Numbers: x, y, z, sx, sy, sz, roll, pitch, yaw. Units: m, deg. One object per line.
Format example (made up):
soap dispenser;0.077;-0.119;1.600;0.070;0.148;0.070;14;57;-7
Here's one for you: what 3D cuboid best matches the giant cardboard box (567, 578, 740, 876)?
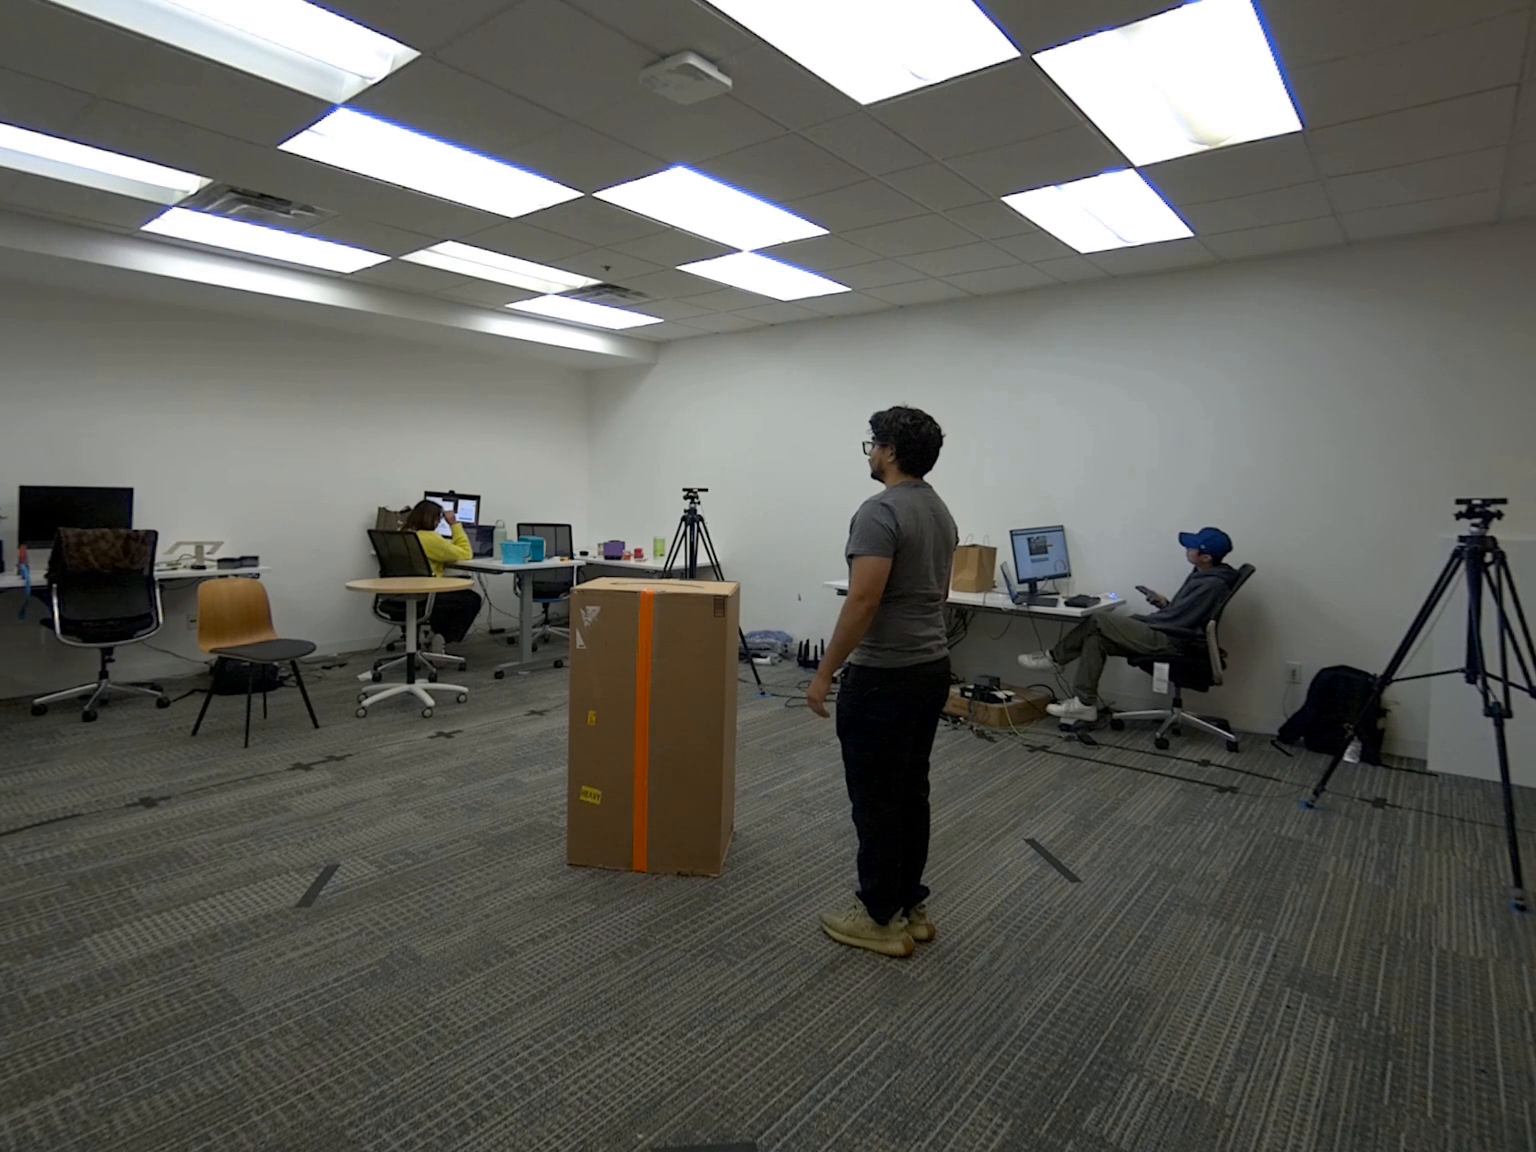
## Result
giant cardboard box;-0.436;0.540;3.260;0.583;1.023;0.424;2;3;7
